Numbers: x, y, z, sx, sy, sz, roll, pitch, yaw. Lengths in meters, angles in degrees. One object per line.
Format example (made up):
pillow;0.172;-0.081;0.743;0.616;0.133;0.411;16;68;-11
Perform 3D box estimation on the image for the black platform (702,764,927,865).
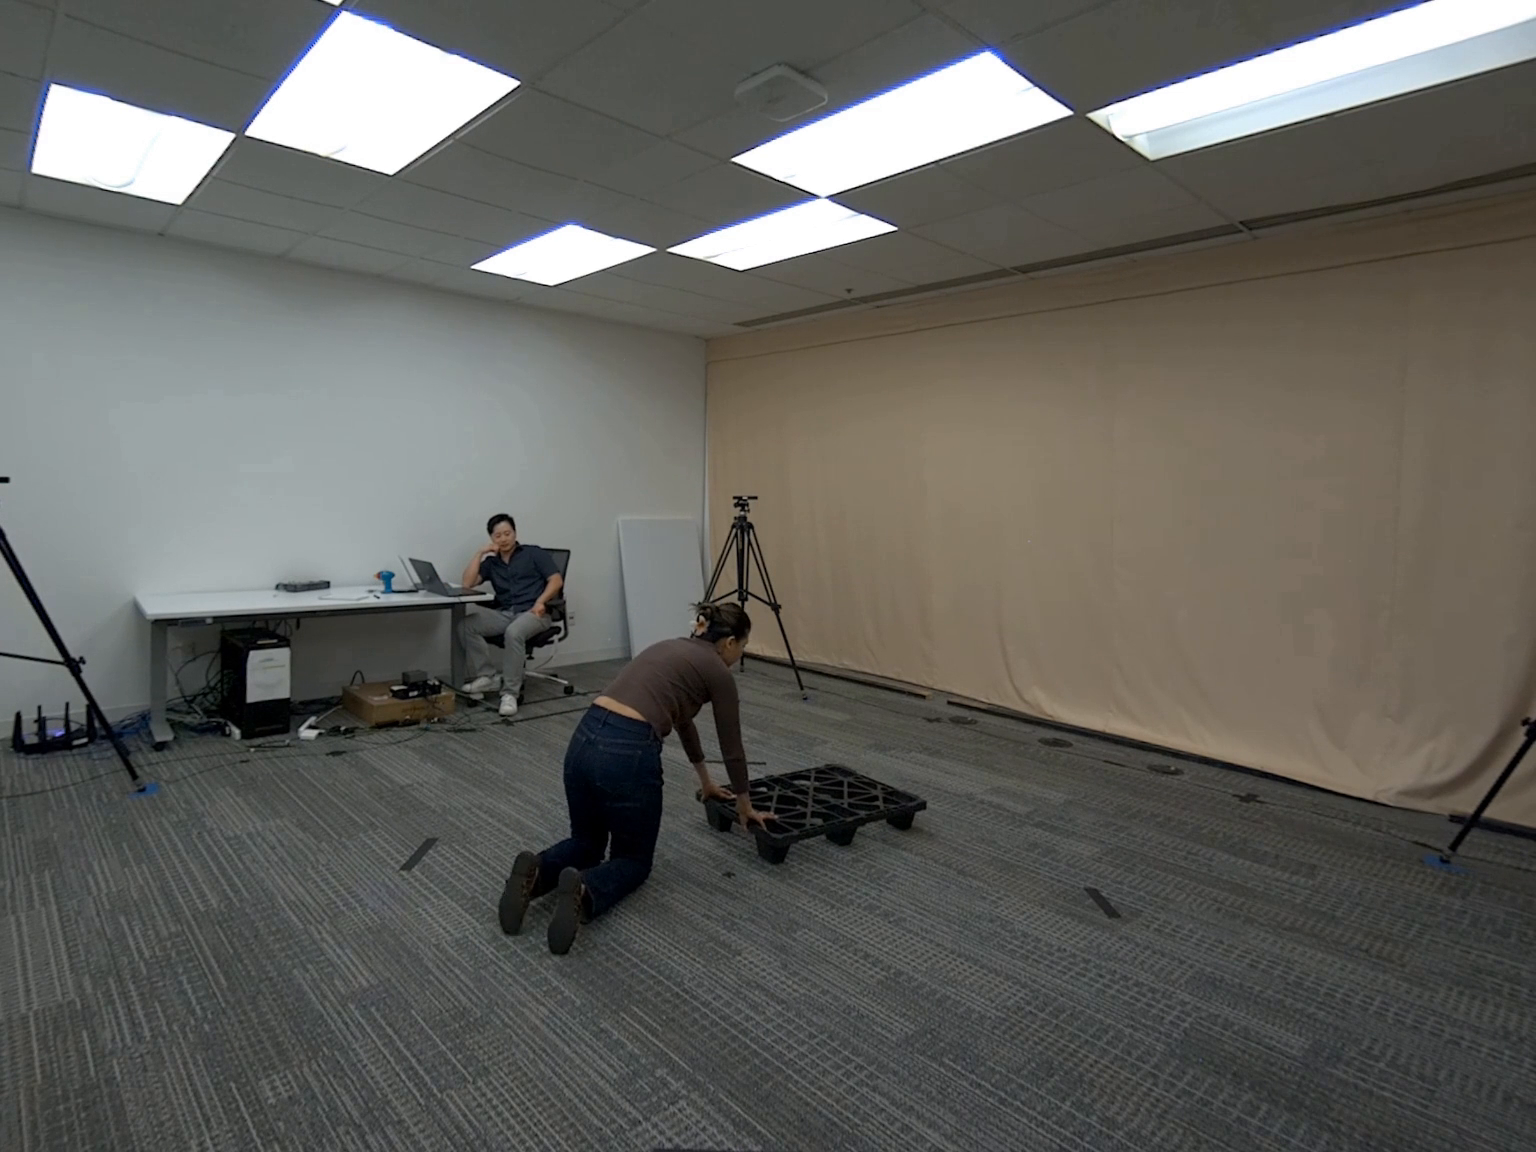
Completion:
black platform;0.168;1.003;3.589;0.788;0.143;0.620;-2;5;-35
